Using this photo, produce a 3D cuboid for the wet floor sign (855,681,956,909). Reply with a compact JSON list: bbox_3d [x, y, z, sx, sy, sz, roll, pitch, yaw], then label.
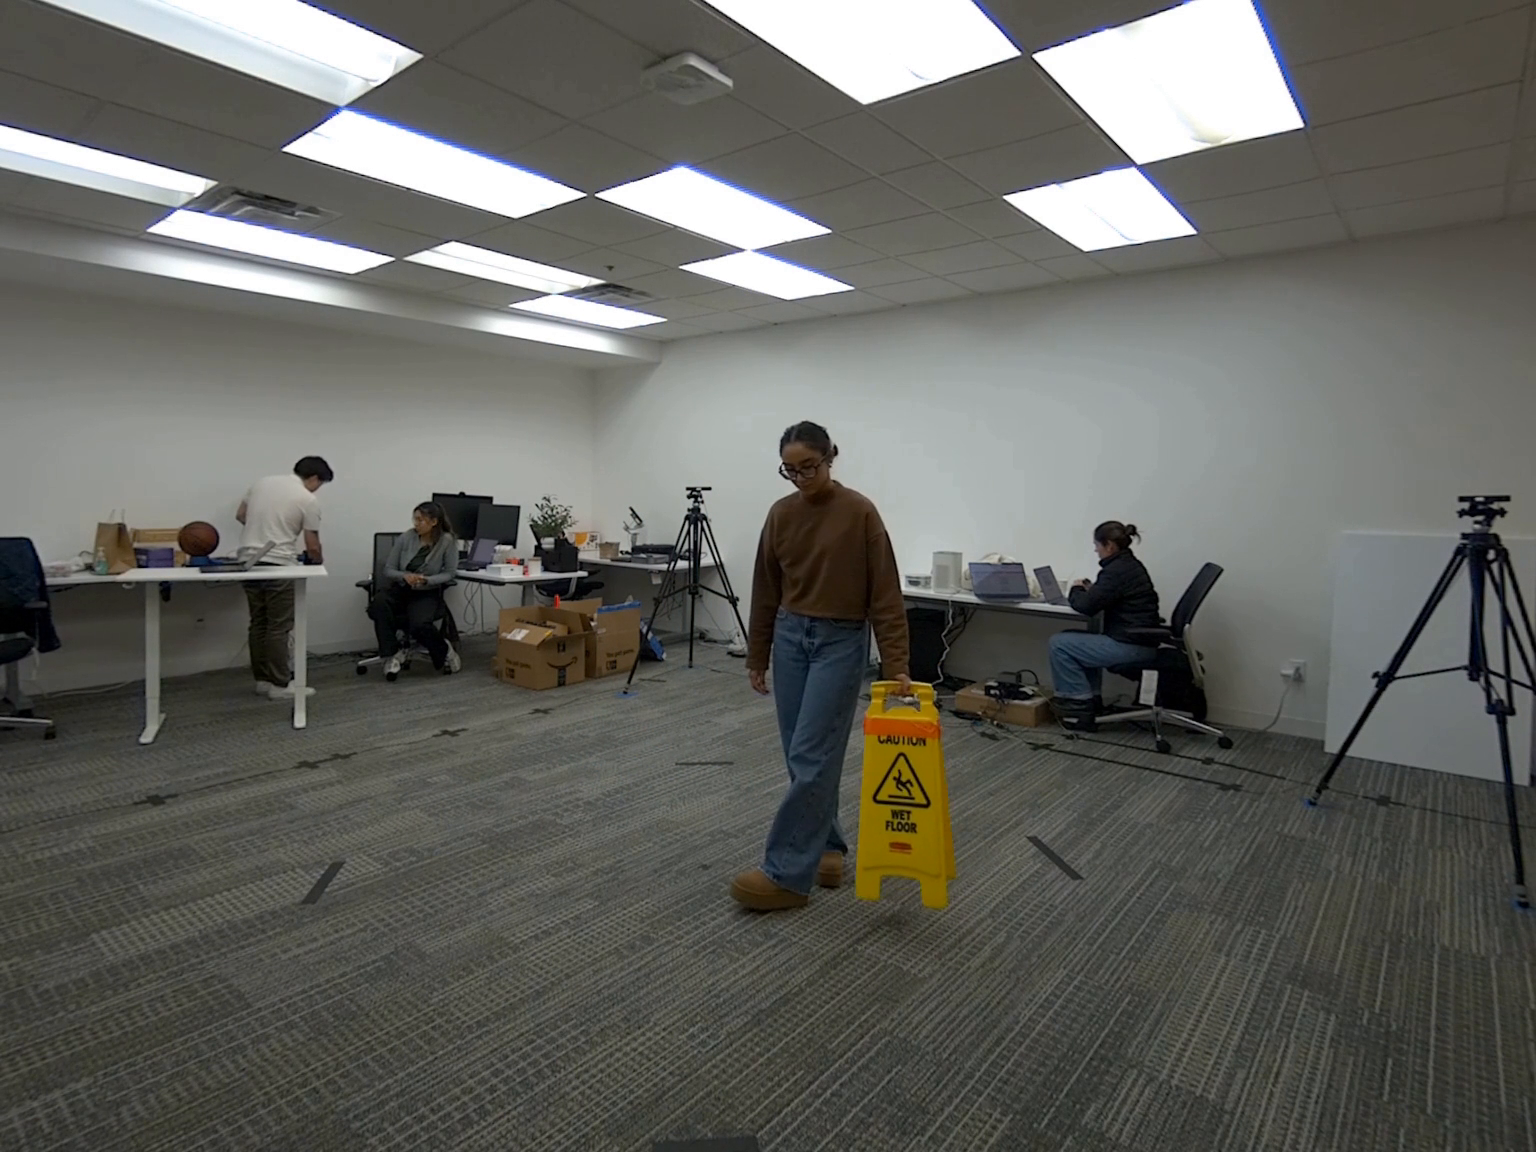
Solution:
[{"bbox_3d":[0.429,0.667,2.725,0.288,0.648,0.283,0,-3,19],"label":"wet floor sign"}]
